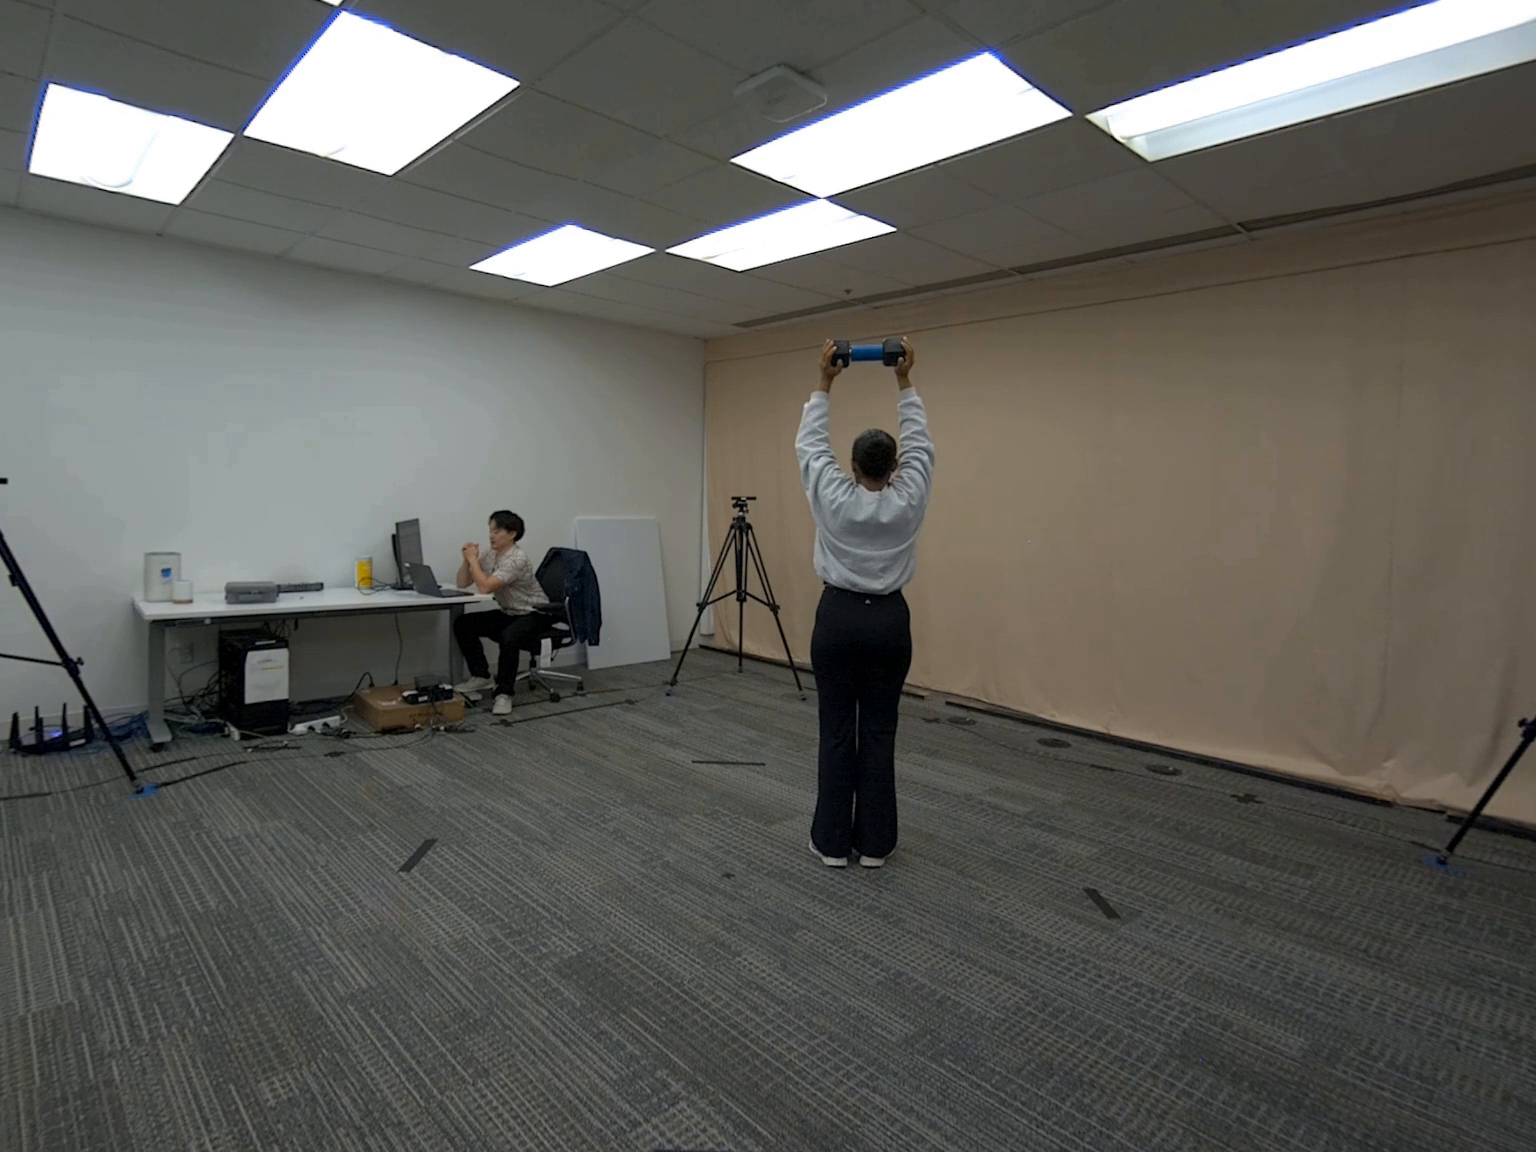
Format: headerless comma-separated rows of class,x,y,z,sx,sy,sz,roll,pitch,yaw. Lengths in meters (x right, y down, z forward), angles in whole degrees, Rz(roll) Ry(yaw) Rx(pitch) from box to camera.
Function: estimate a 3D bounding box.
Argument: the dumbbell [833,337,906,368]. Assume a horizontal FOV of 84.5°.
dumbbell,0.373,-0.855,3.262,0.295,0.125,0.106,-1,-24,6
